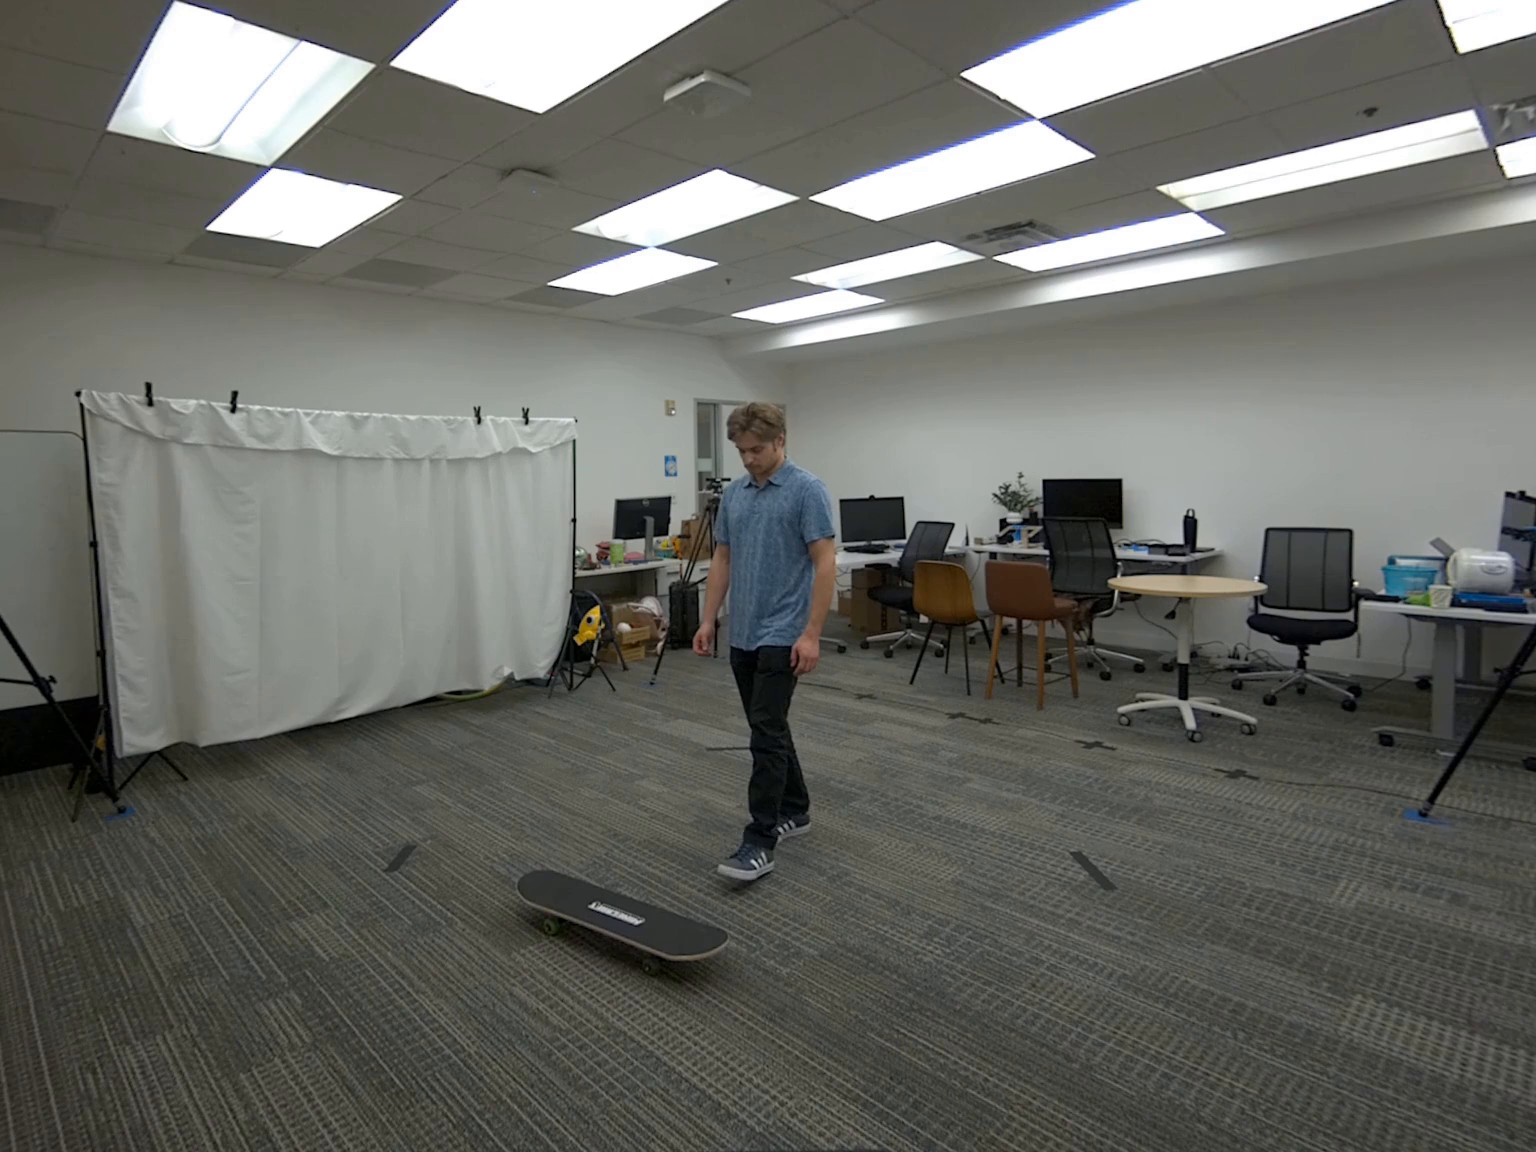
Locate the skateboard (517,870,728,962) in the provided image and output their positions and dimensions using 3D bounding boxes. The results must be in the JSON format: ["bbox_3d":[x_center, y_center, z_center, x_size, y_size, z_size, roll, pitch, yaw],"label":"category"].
[{"bbox_3d":[-0.457,1.057,2.591,0.807,0.110,0.189,3,8,33],"label":"skateboard"}]
